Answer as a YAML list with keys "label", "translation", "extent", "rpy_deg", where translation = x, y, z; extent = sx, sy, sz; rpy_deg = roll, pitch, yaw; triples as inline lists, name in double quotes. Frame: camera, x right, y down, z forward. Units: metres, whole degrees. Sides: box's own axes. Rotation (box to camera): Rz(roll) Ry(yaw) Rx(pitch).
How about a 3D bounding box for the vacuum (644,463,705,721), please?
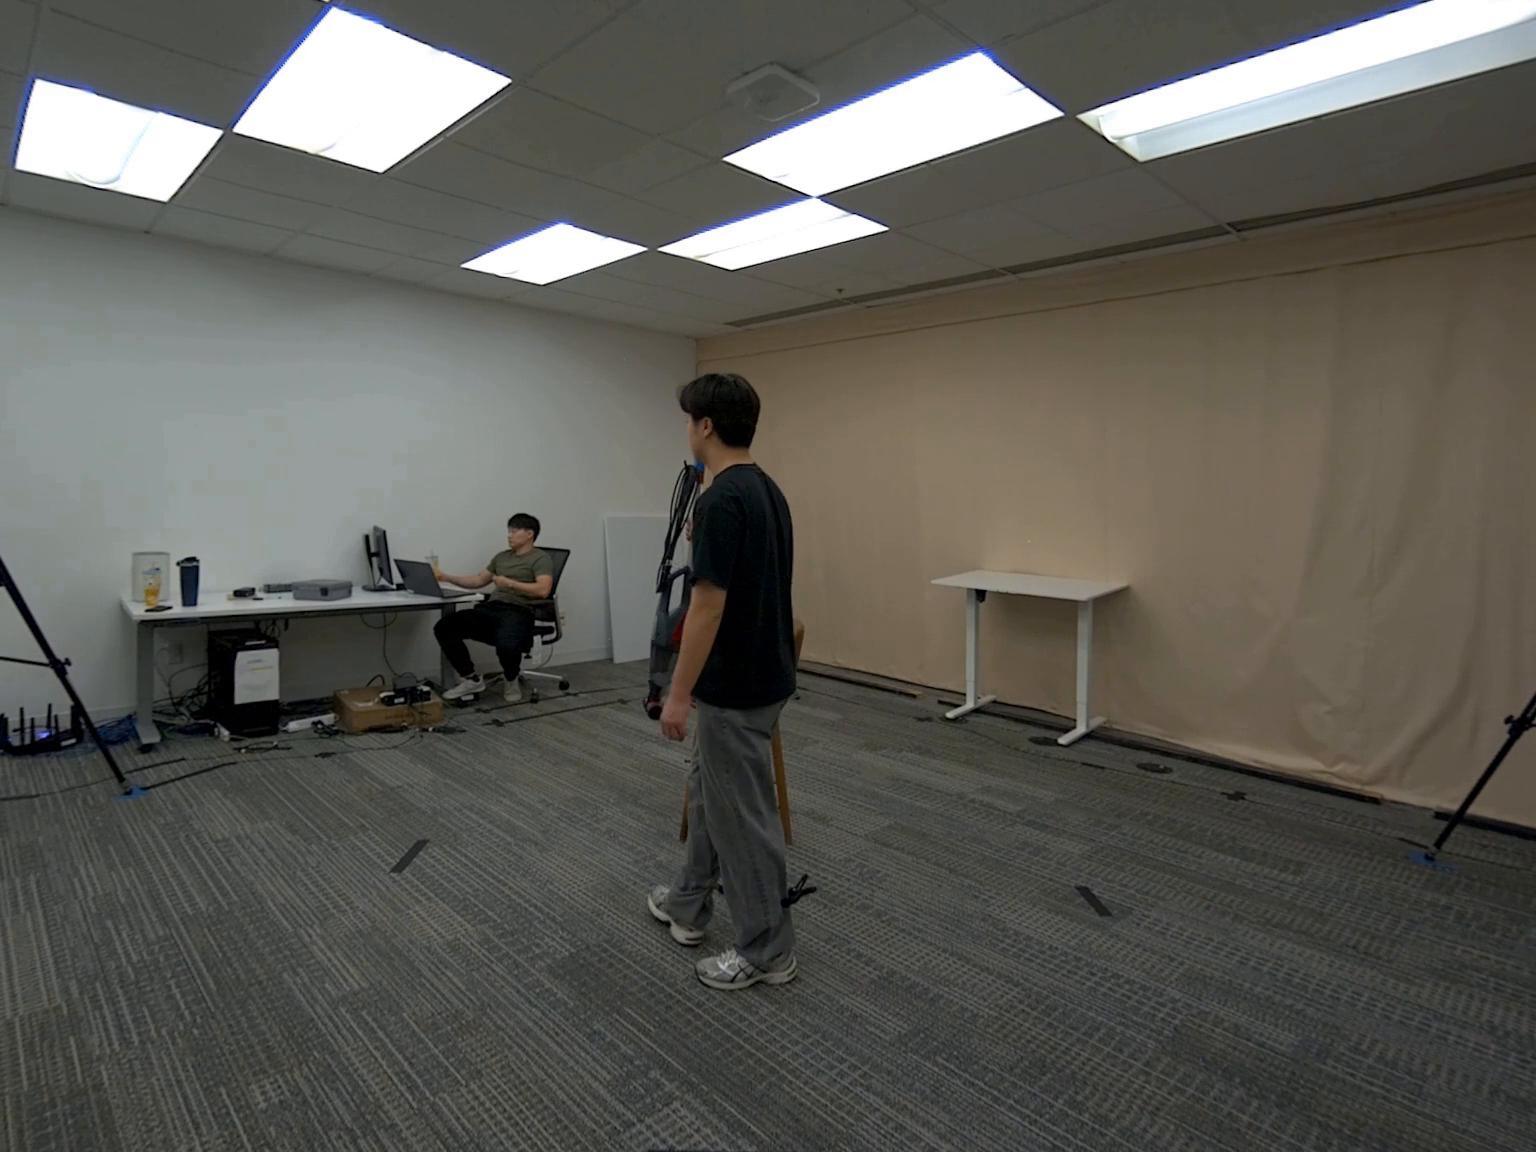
- label: "vacuum"
  translation: [-0.323, -0.019, 2.869]
  extent: [0.141, 1.046, 0.259]
  rpy_deg: [2, 6, -29]
